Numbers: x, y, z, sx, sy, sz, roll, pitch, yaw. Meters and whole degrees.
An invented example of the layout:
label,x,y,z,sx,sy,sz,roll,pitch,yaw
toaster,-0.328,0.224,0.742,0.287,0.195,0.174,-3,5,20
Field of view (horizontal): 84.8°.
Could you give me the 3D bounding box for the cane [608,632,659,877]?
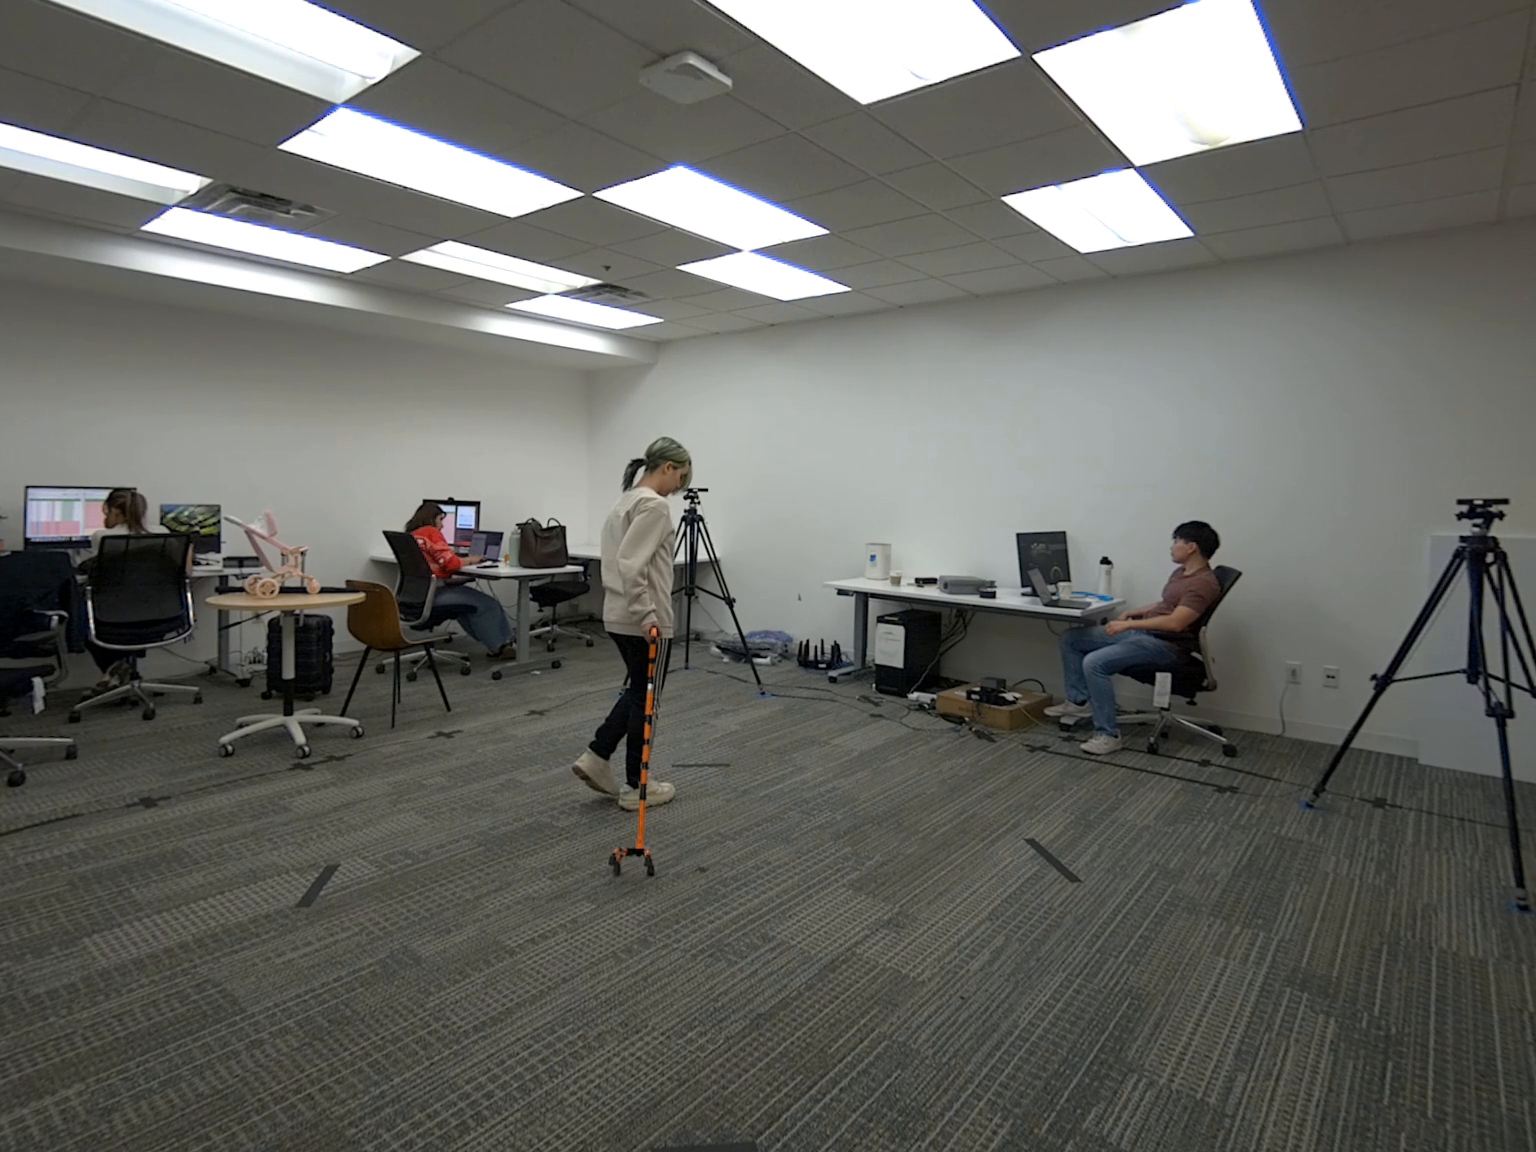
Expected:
label,x,y,z,sx,sy,sz,roll,pitch,yaw
cane,-0.479,0.621,3.194,0.151,0.929,0.202,2,-28,-3
